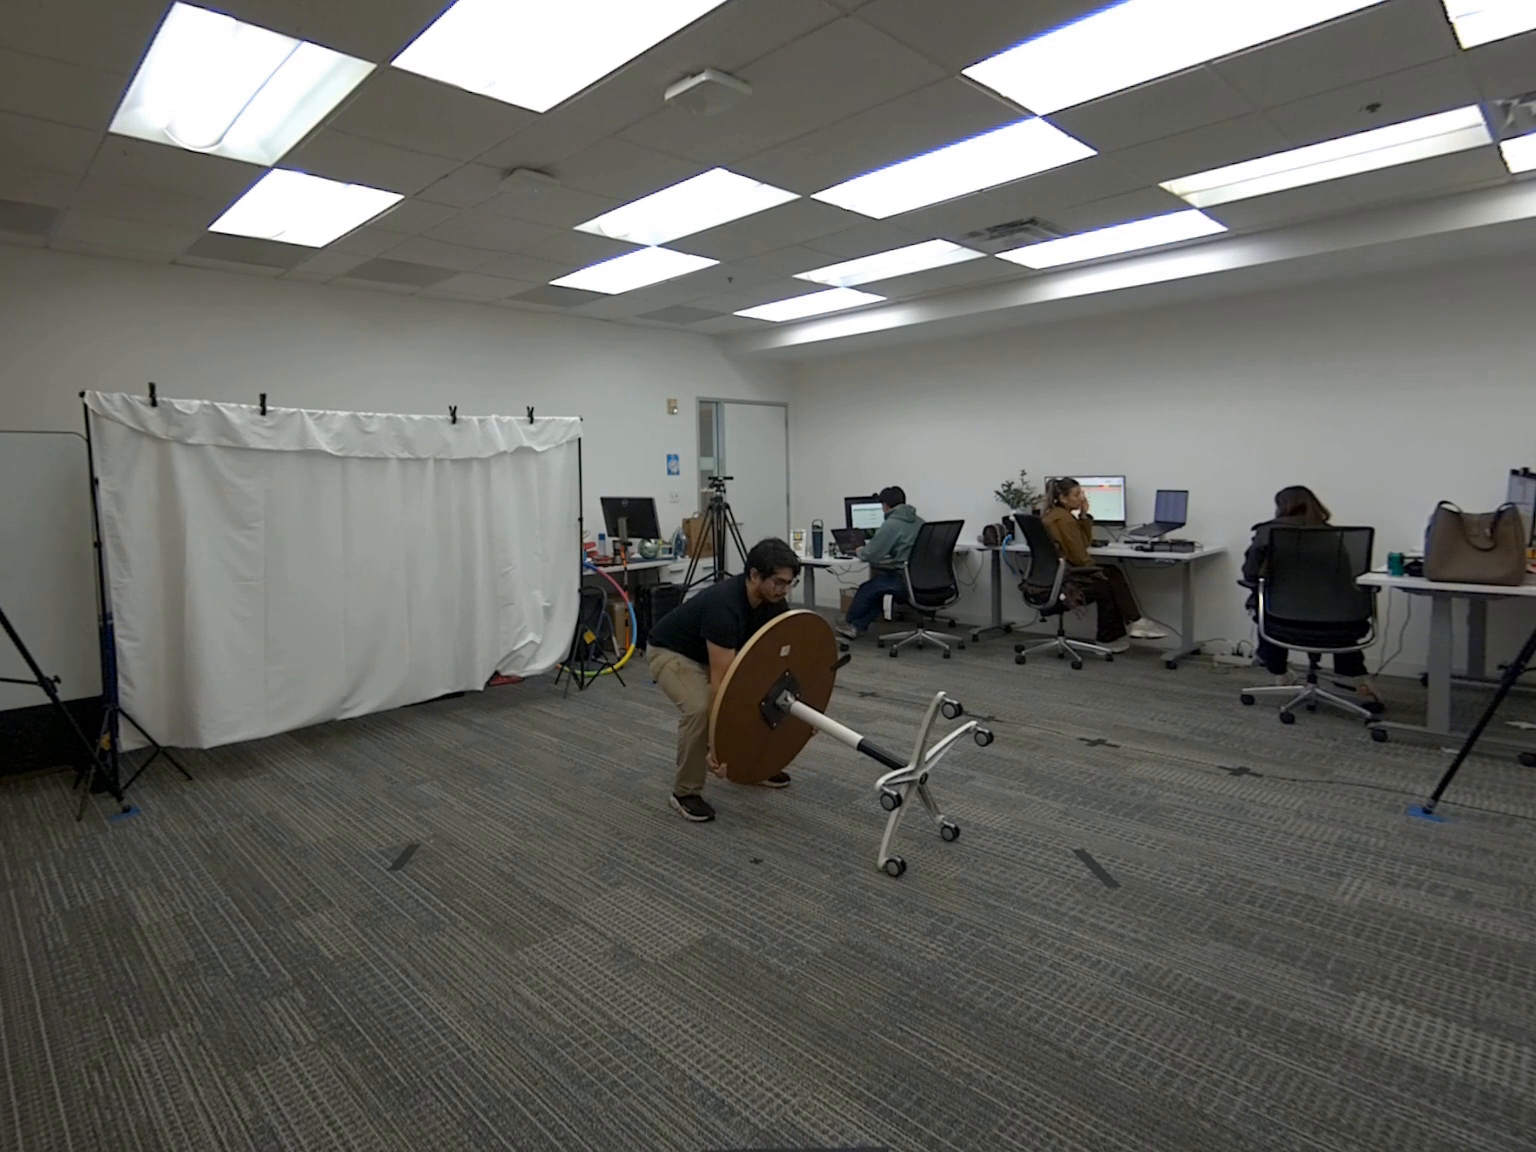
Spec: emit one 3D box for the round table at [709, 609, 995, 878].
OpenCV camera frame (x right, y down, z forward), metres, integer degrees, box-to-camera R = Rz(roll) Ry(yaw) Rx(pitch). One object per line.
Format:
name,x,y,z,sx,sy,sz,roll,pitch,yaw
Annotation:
round table,0.324,0.632,3.270,0.816,0.777,0.765,24,20,39
